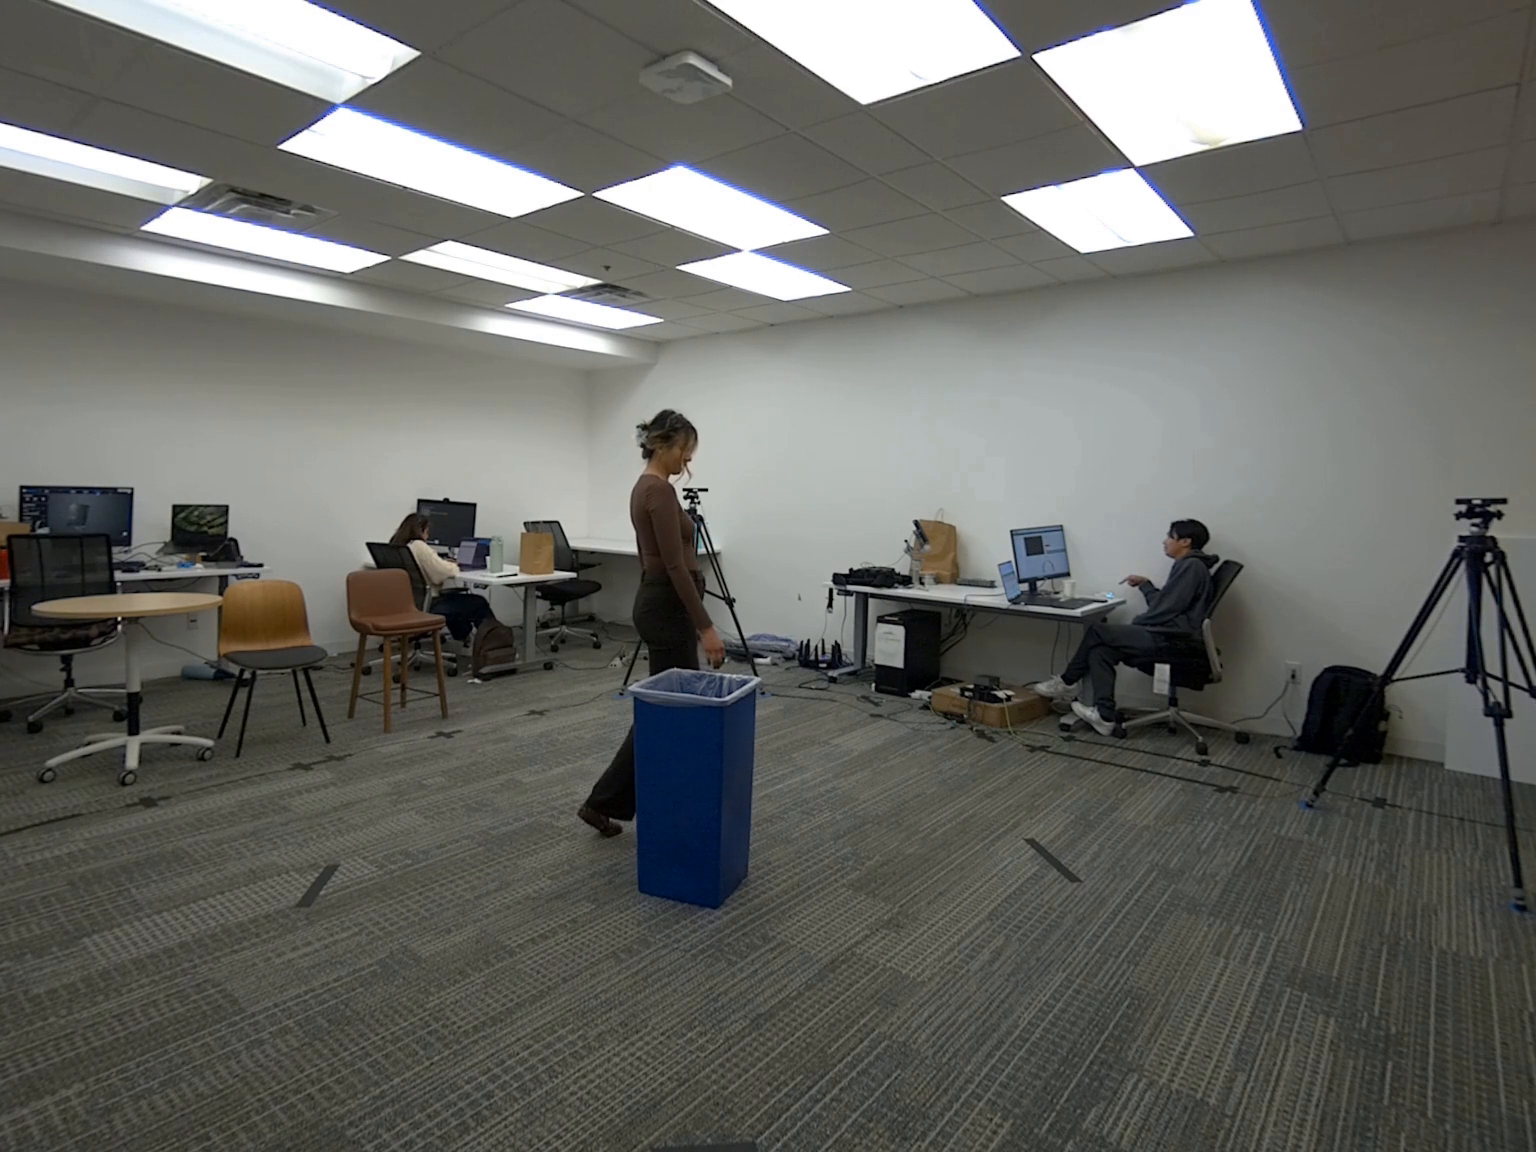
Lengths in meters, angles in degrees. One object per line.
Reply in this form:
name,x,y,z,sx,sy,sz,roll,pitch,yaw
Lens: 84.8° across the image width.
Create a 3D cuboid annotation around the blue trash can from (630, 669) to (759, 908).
blue trash can,-0.256,0.721,2.987,0.383,0.711,0.371,2,4,21
